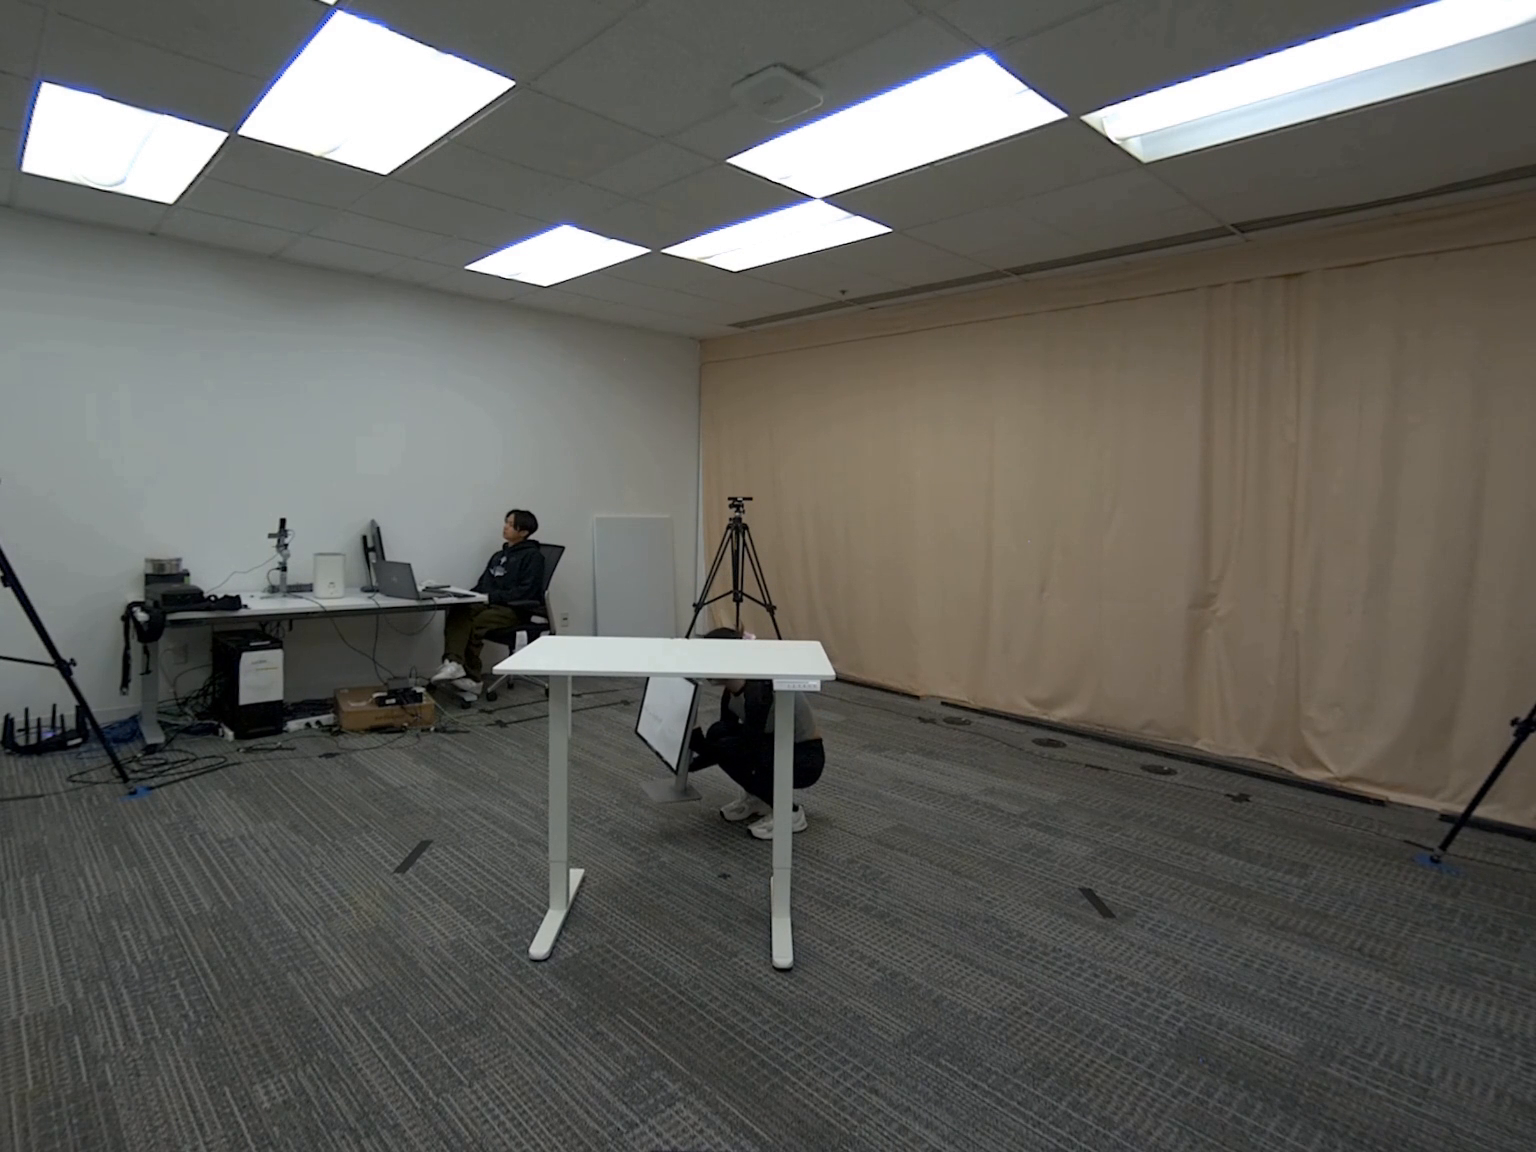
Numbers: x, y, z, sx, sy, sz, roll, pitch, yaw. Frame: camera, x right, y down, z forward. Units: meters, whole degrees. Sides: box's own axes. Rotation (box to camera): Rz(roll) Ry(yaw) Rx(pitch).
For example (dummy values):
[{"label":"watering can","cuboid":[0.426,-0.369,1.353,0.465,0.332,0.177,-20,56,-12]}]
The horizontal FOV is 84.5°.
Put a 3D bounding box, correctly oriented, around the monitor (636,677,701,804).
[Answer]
[{"label":"monitor","cuboid":[-0.398,0.635,3.462,0.183,0.522,0.550,1,2,-27]}]
